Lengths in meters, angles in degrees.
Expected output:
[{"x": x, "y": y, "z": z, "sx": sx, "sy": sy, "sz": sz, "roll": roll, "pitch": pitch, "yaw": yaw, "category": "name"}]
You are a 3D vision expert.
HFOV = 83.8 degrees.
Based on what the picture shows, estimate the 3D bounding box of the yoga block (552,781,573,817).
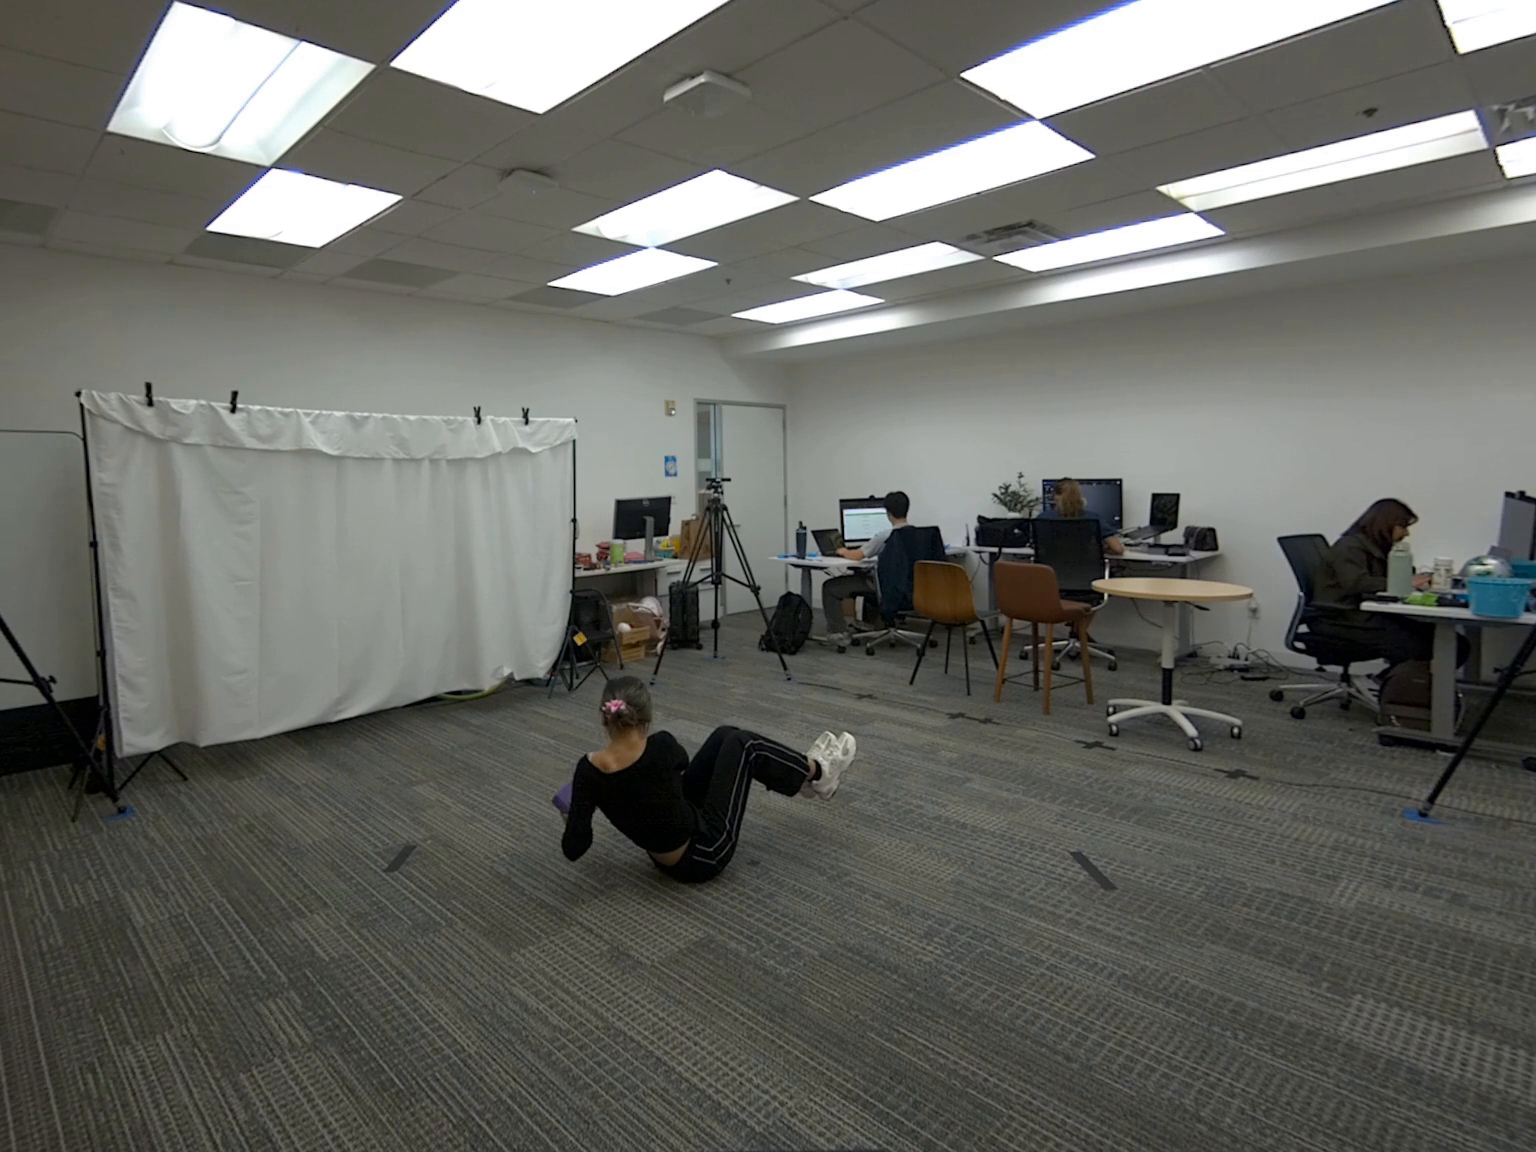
[{"x": -0.656, "y": 0.800, "z": 3.179, "sx": 0.228, "sy": 0.152, "sz": 0.075, "roll": -37, "pitch": -15, "yaw": -30, "category": "yoga block"}]
